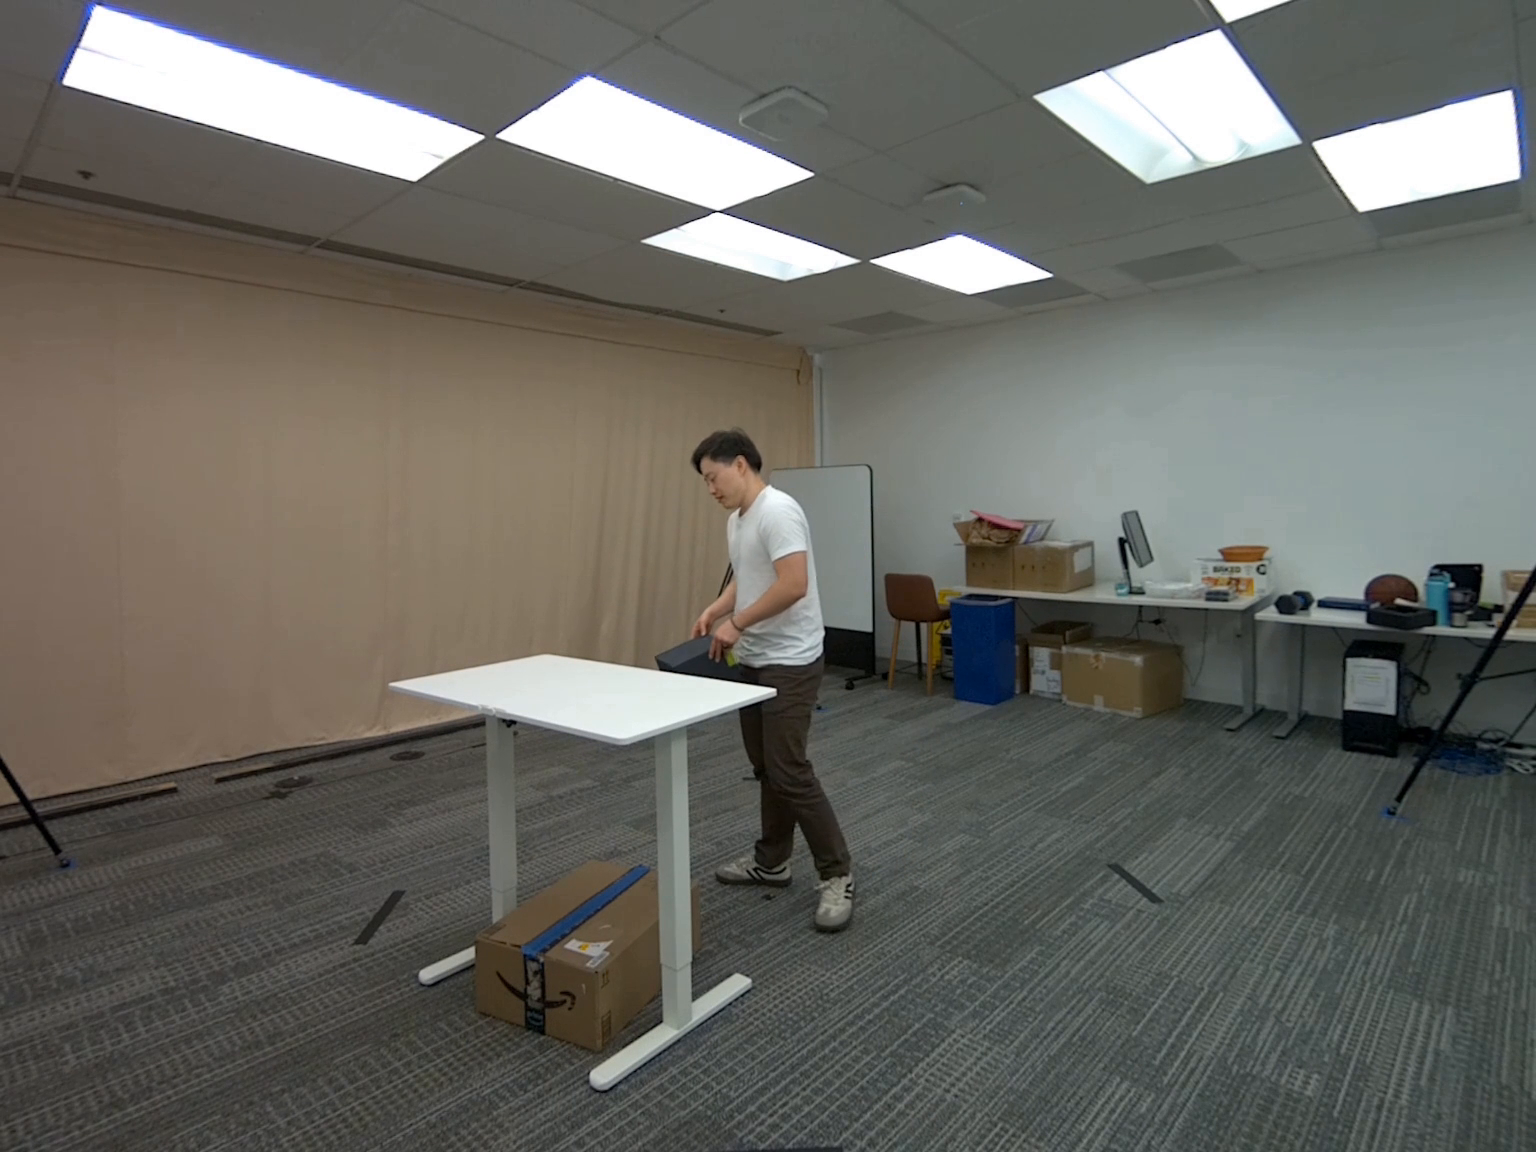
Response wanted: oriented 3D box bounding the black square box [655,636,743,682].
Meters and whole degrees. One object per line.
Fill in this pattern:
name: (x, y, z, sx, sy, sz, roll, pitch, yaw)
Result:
black square box: (-0.237, 0.332, 2.976, 0.214, 0.154, 0.233, -24, 12, -20)
